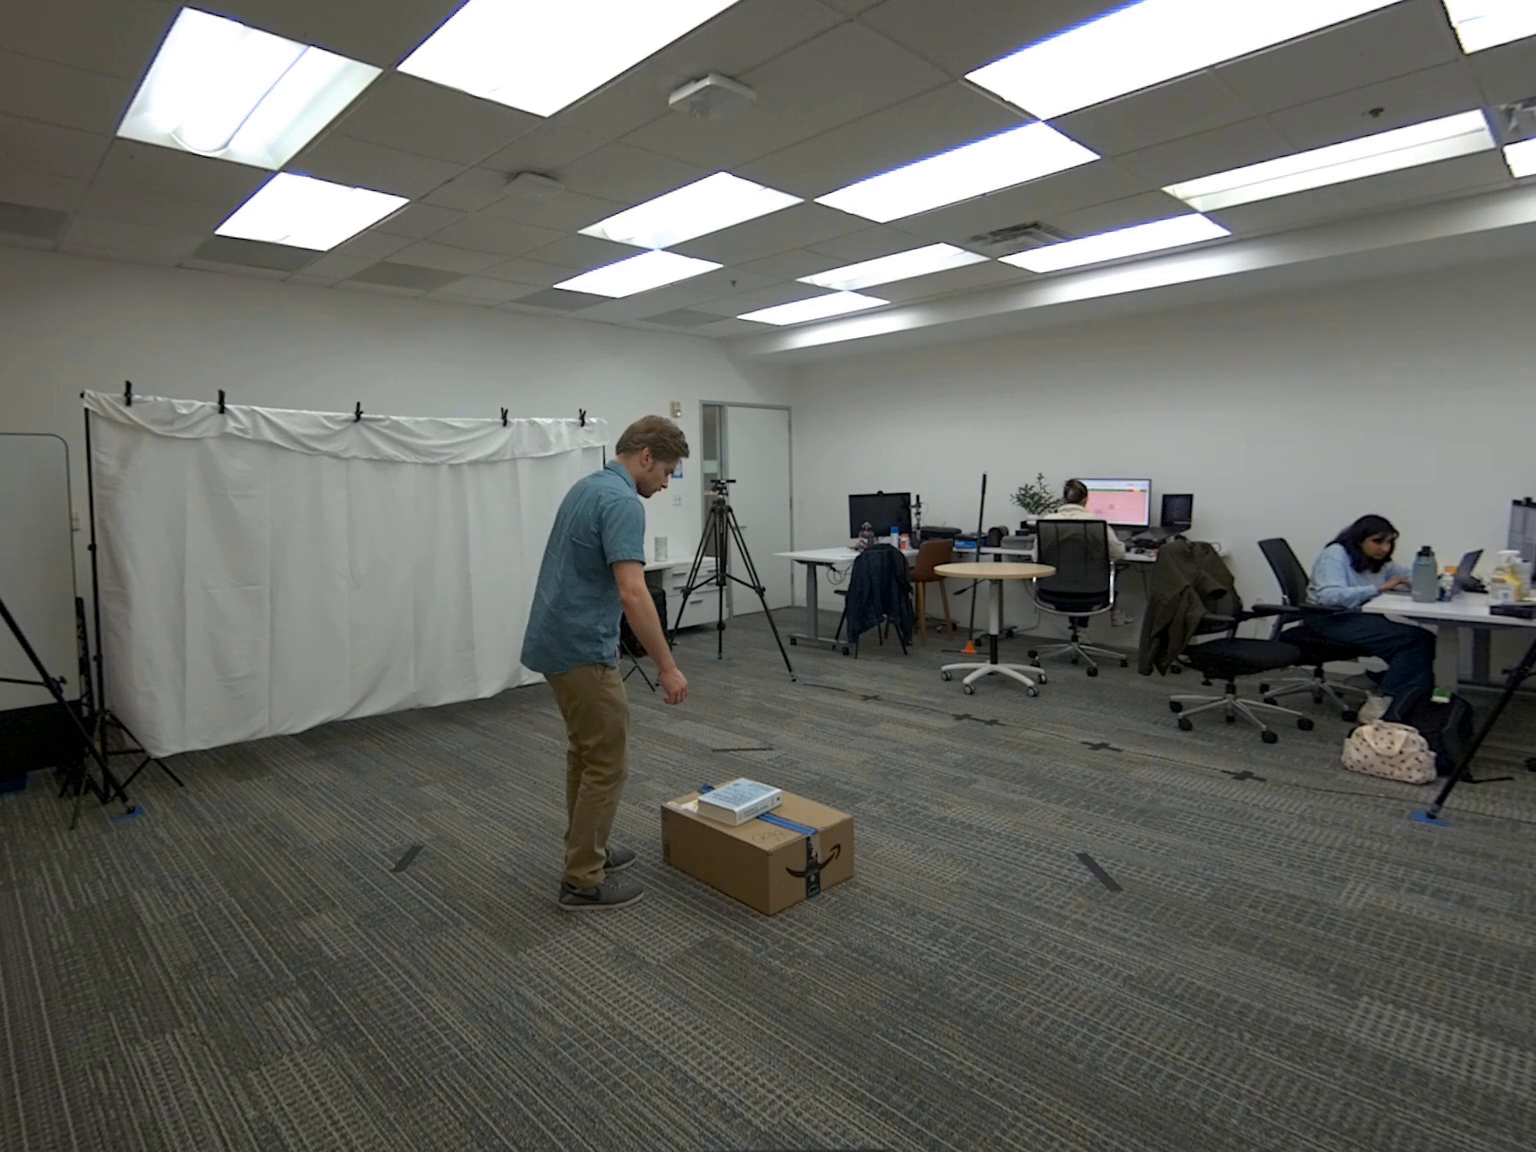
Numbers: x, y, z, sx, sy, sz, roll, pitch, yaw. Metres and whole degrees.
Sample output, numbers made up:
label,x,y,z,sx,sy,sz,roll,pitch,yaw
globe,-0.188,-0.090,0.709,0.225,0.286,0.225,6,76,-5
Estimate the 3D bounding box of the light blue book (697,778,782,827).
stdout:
label,x,y,z,sx,sy,sz,roll,pitch,yaw
light blue book,-0.101,0.806,3.082,0.197,0.059,0.254,5,8,39
